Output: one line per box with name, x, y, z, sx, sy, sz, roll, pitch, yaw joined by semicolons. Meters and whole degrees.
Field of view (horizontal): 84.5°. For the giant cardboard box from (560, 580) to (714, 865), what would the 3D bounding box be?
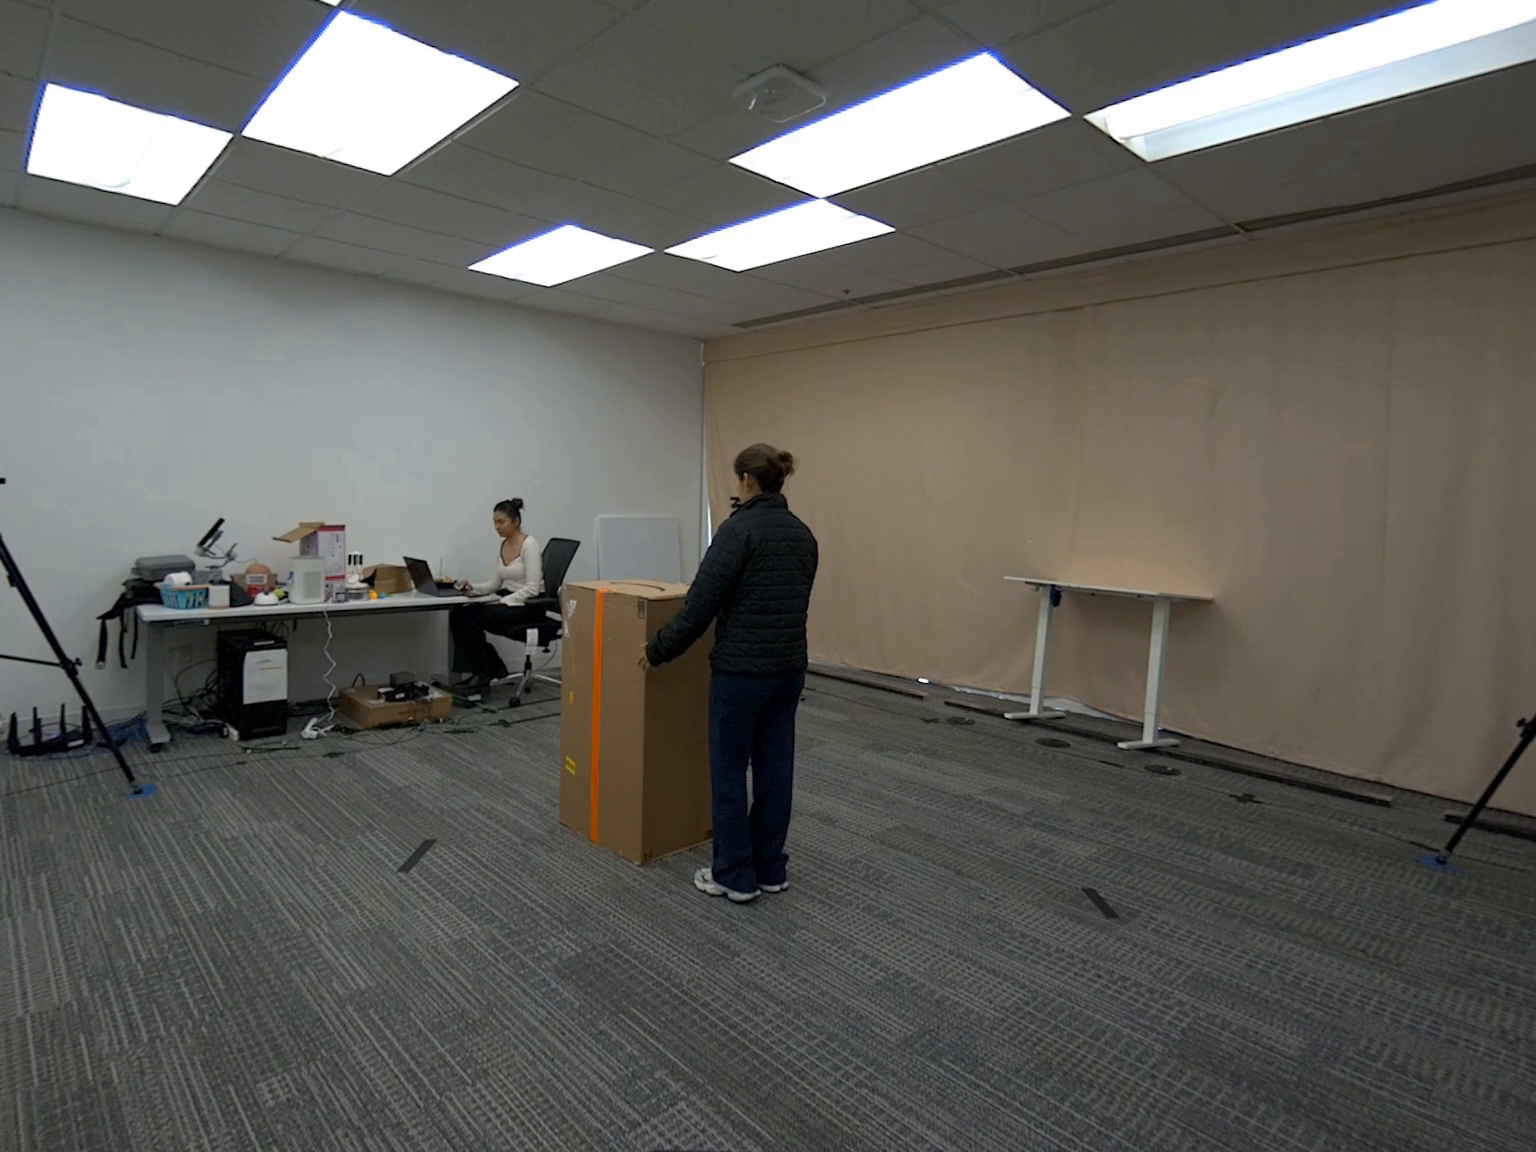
giant cardboard box;-0.536;0.559;3.476;0.416;1.023;0.592;-2;5;-44
